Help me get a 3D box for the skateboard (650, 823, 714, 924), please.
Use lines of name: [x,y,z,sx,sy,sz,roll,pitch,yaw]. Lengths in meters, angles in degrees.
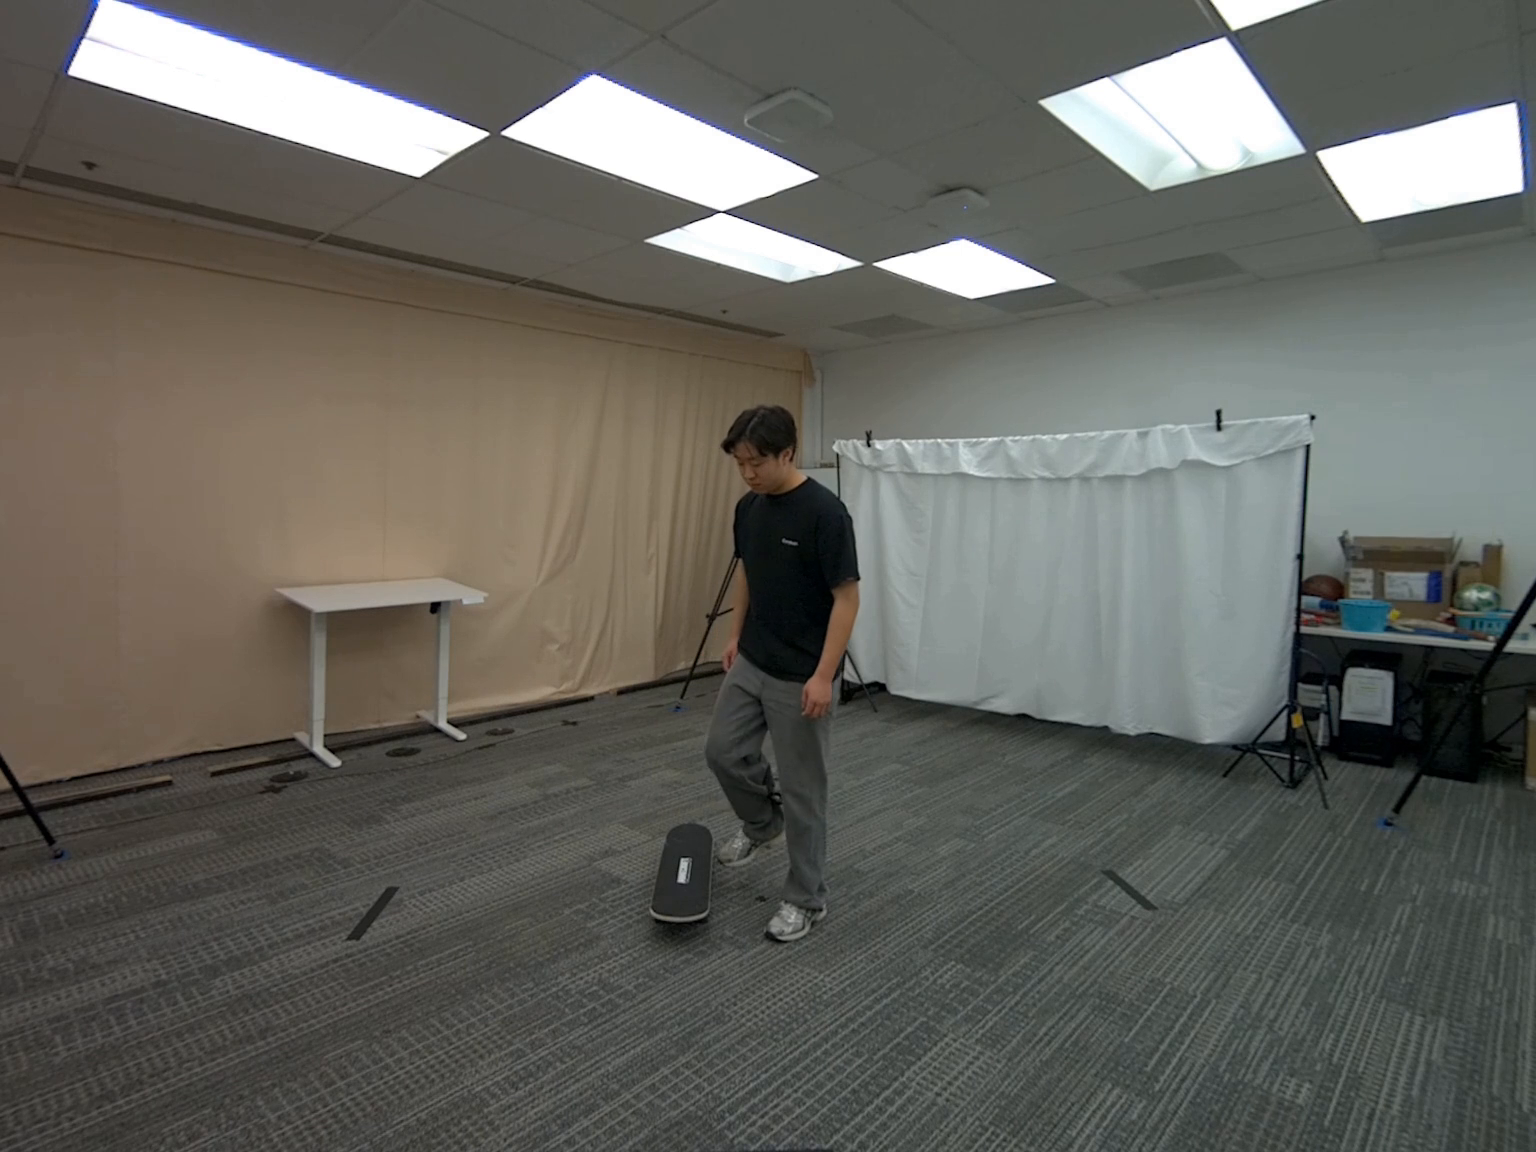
skateboard: [-0.300,1.083,3.018,0.193,0.110,0.787,-1,5,-1]
